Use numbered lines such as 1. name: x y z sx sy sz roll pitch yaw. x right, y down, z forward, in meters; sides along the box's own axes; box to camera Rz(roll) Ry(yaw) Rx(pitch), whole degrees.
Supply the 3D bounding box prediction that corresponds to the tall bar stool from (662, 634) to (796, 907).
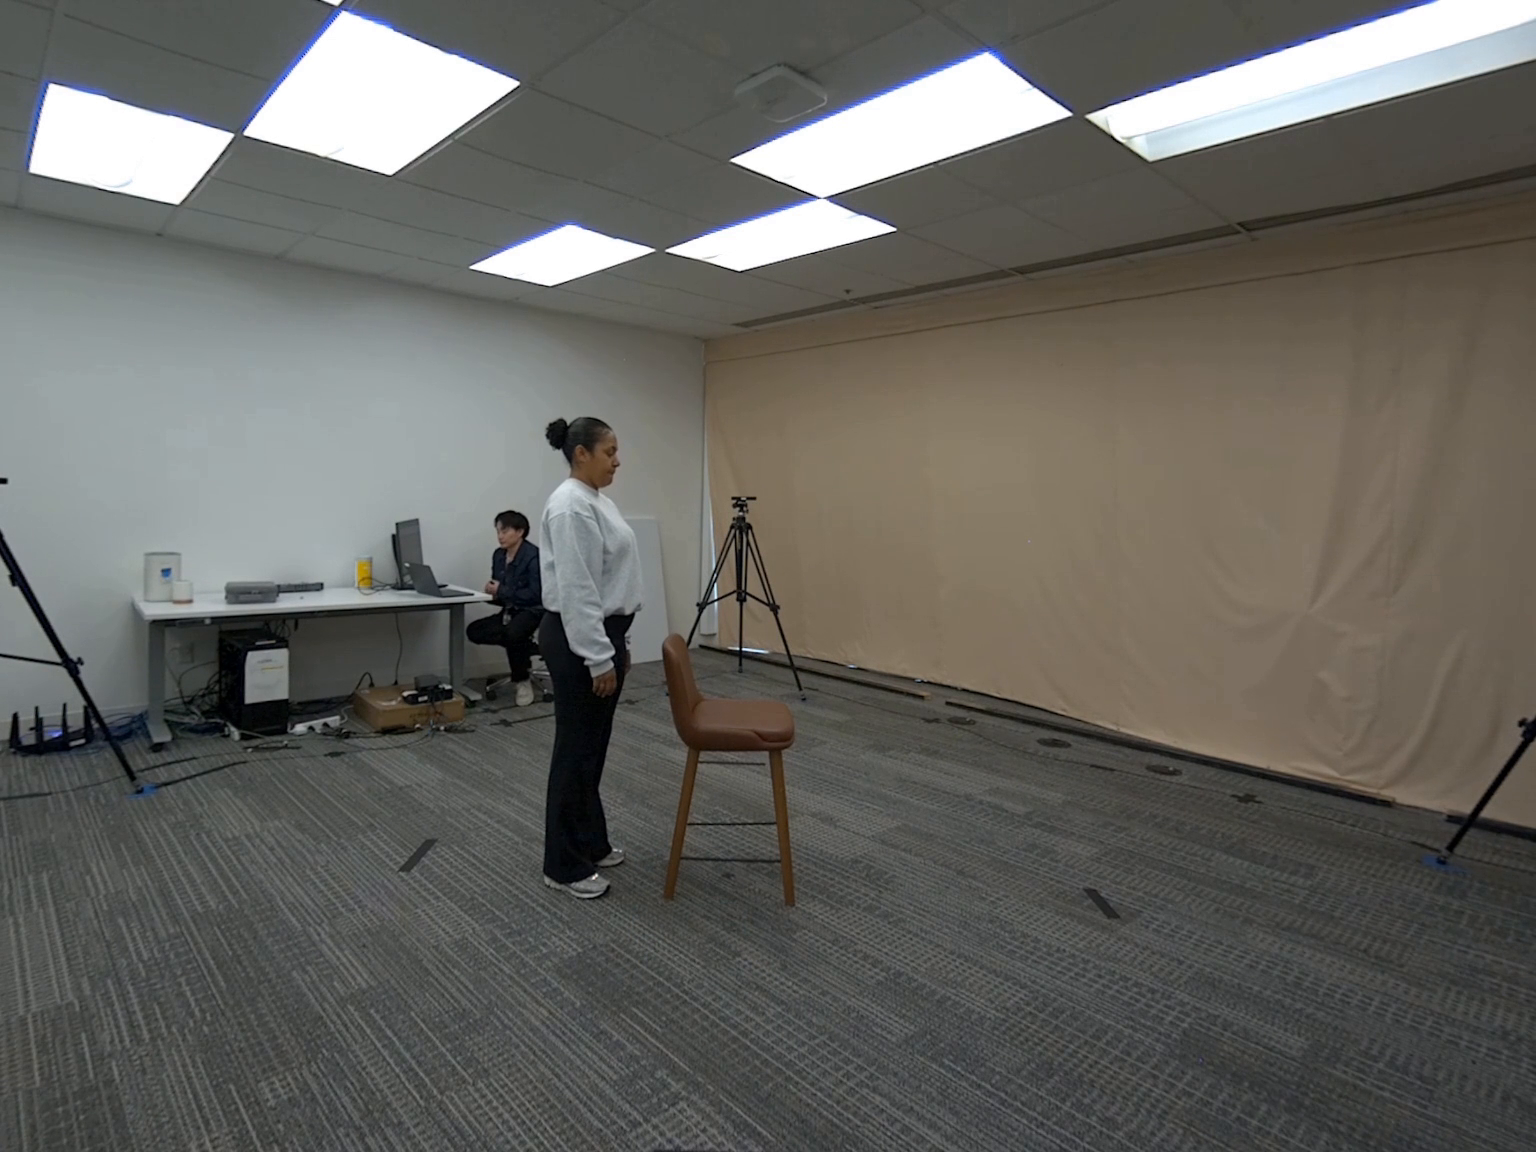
1. tall bar stool: -0.153 0.674 3.067 0.468 0.887 0.457 -1 4 1
